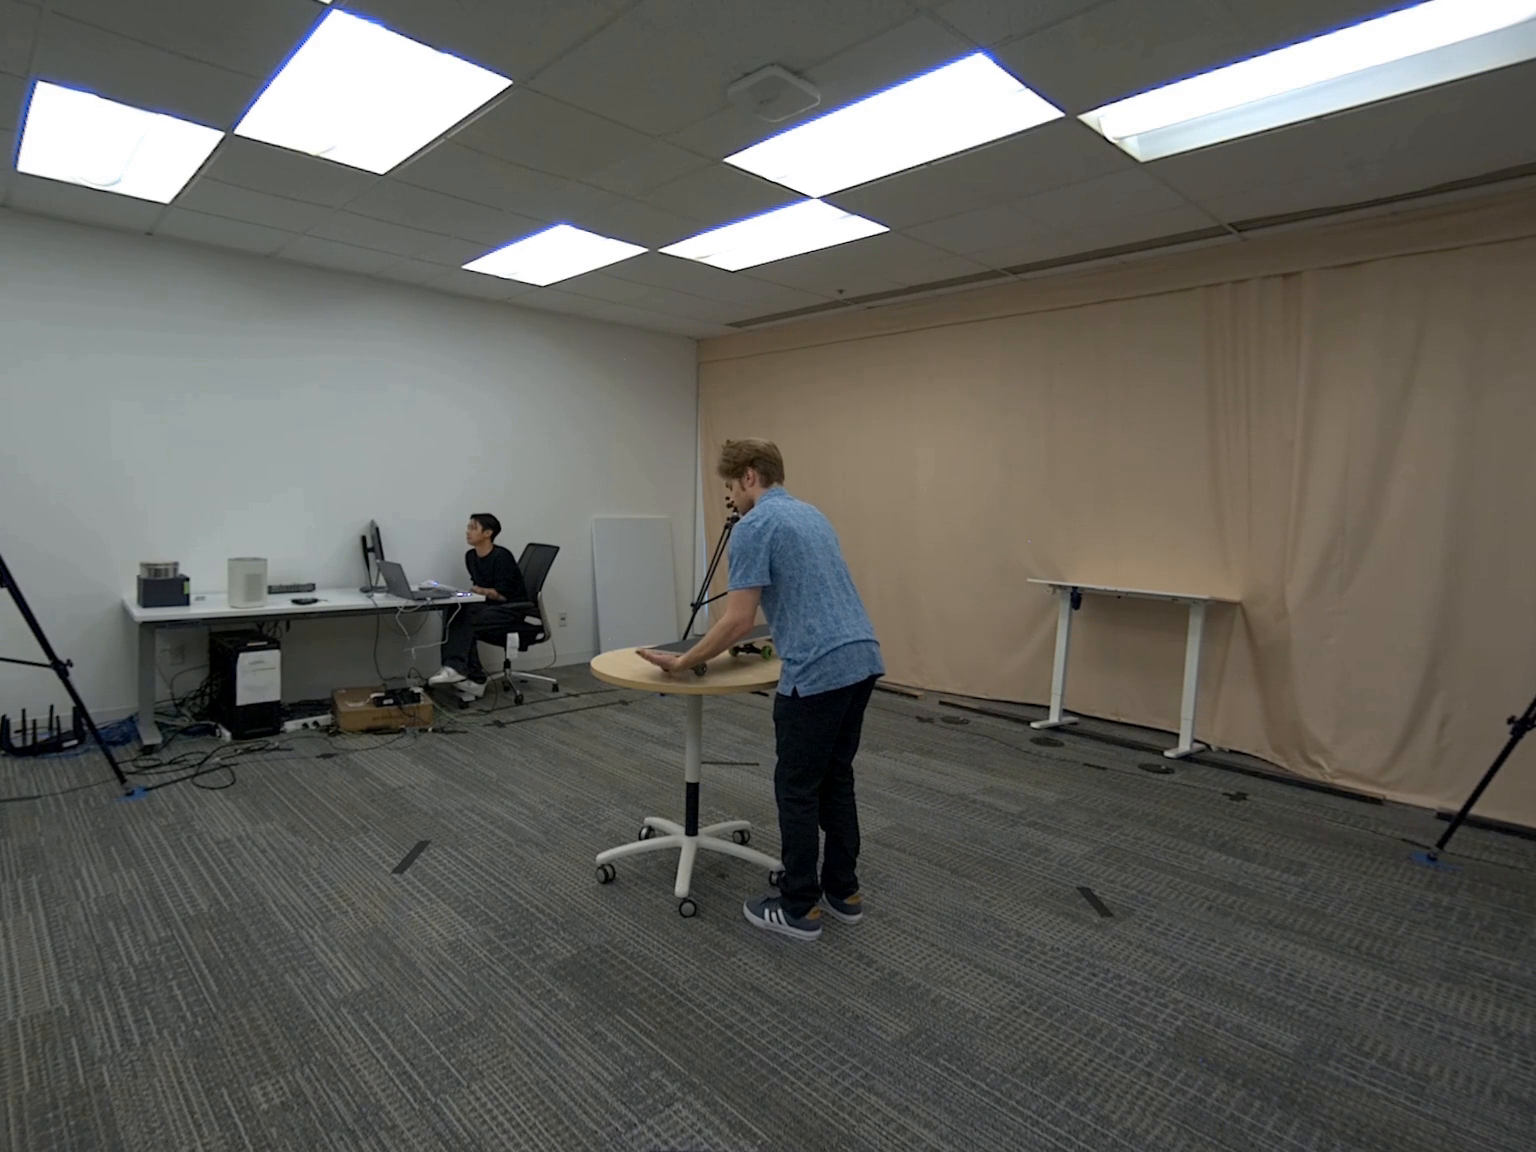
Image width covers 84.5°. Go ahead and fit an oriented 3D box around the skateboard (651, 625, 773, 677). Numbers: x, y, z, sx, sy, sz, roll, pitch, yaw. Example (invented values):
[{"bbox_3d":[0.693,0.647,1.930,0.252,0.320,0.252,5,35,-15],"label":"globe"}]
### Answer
[{"bbox_3d":[-0.181,0.267,3.056,0.198,0.110,0.769,4,7,35],"label":"skateboard"}]
